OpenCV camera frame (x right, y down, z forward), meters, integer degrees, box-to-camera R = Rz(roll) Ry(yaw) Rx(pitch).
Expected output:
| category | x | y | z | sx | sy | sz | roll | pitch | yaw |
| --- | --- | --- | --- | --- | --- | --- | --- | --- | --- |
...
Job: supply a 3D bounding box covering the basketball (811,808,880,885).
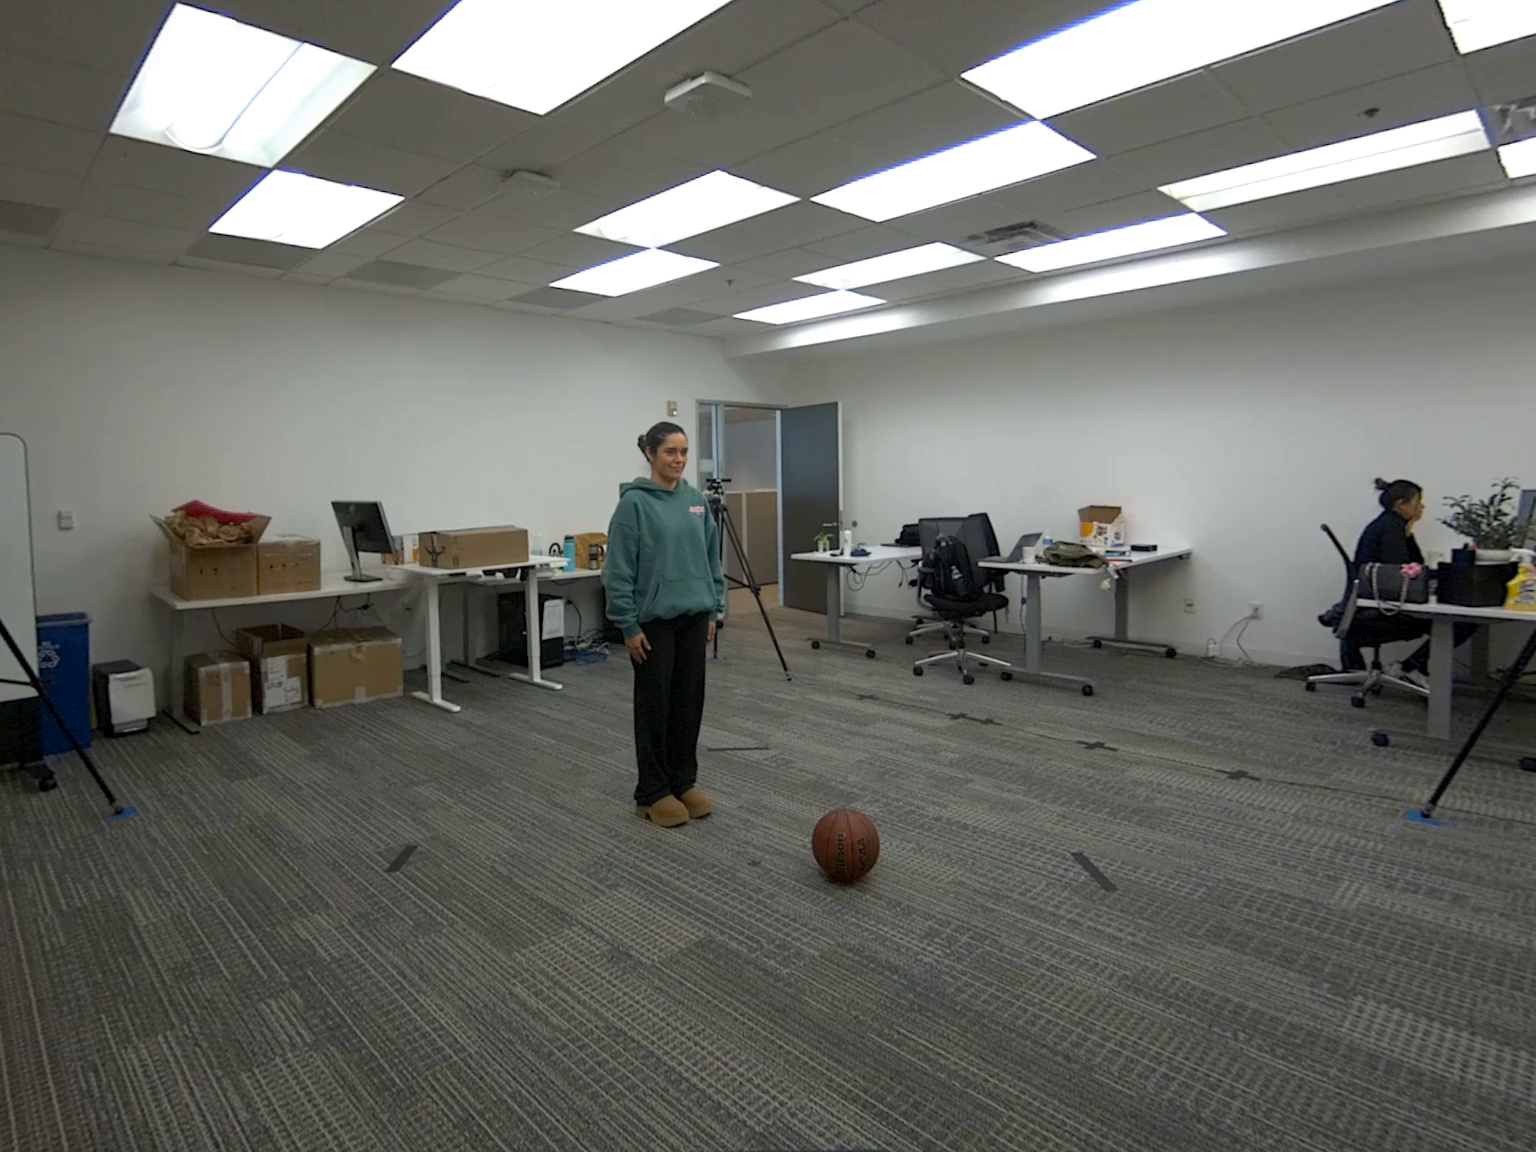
| category | x | y | z | sx | sy | sz | roll | pitch | yaw |
| --- | --- | --- | --- | --- | --- | --- | --- | --- | --- |
| basketball | 0.277 | 0.934 | 2.982 | 0.236 | 0.235 | 0.237 | -1 | 5 | -2 |
